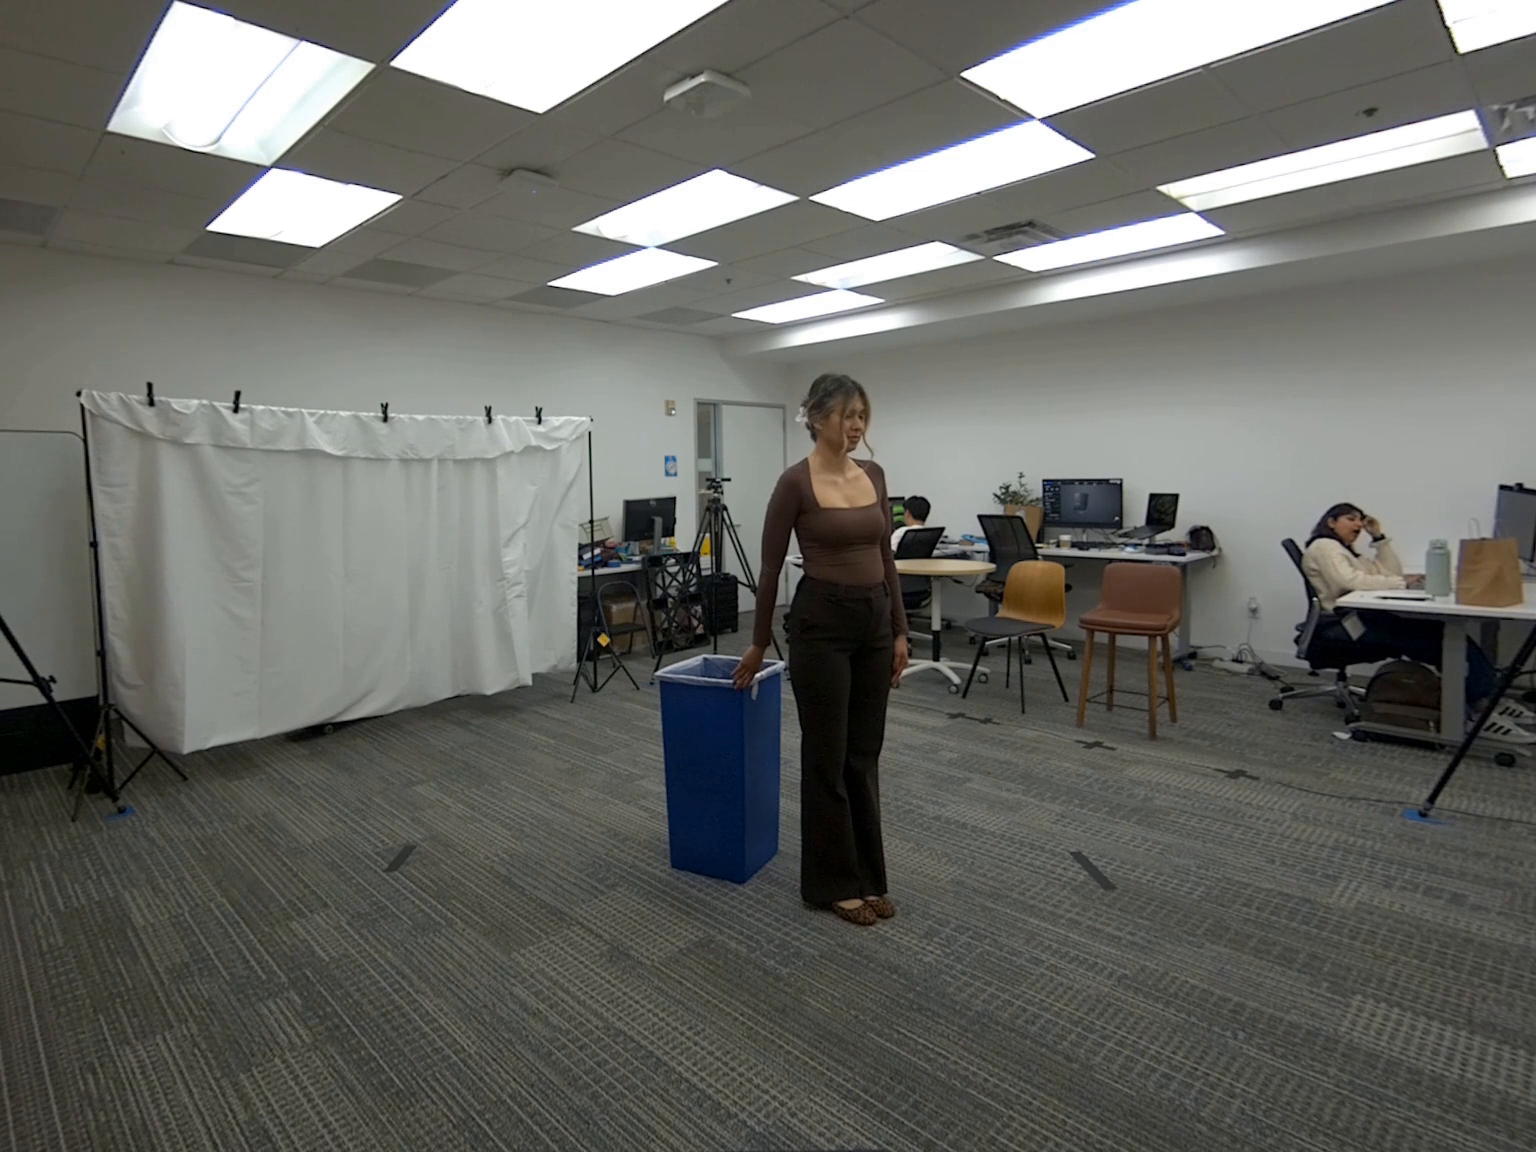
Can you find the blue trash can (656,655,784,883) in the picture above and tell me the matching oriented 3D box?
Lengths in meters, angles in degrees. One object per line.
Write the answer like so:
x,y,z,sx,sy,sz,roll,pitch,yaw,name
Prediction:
-0.157,0.683,3.115,0.387,0.712,0.366,1,3,26,blue trash can
